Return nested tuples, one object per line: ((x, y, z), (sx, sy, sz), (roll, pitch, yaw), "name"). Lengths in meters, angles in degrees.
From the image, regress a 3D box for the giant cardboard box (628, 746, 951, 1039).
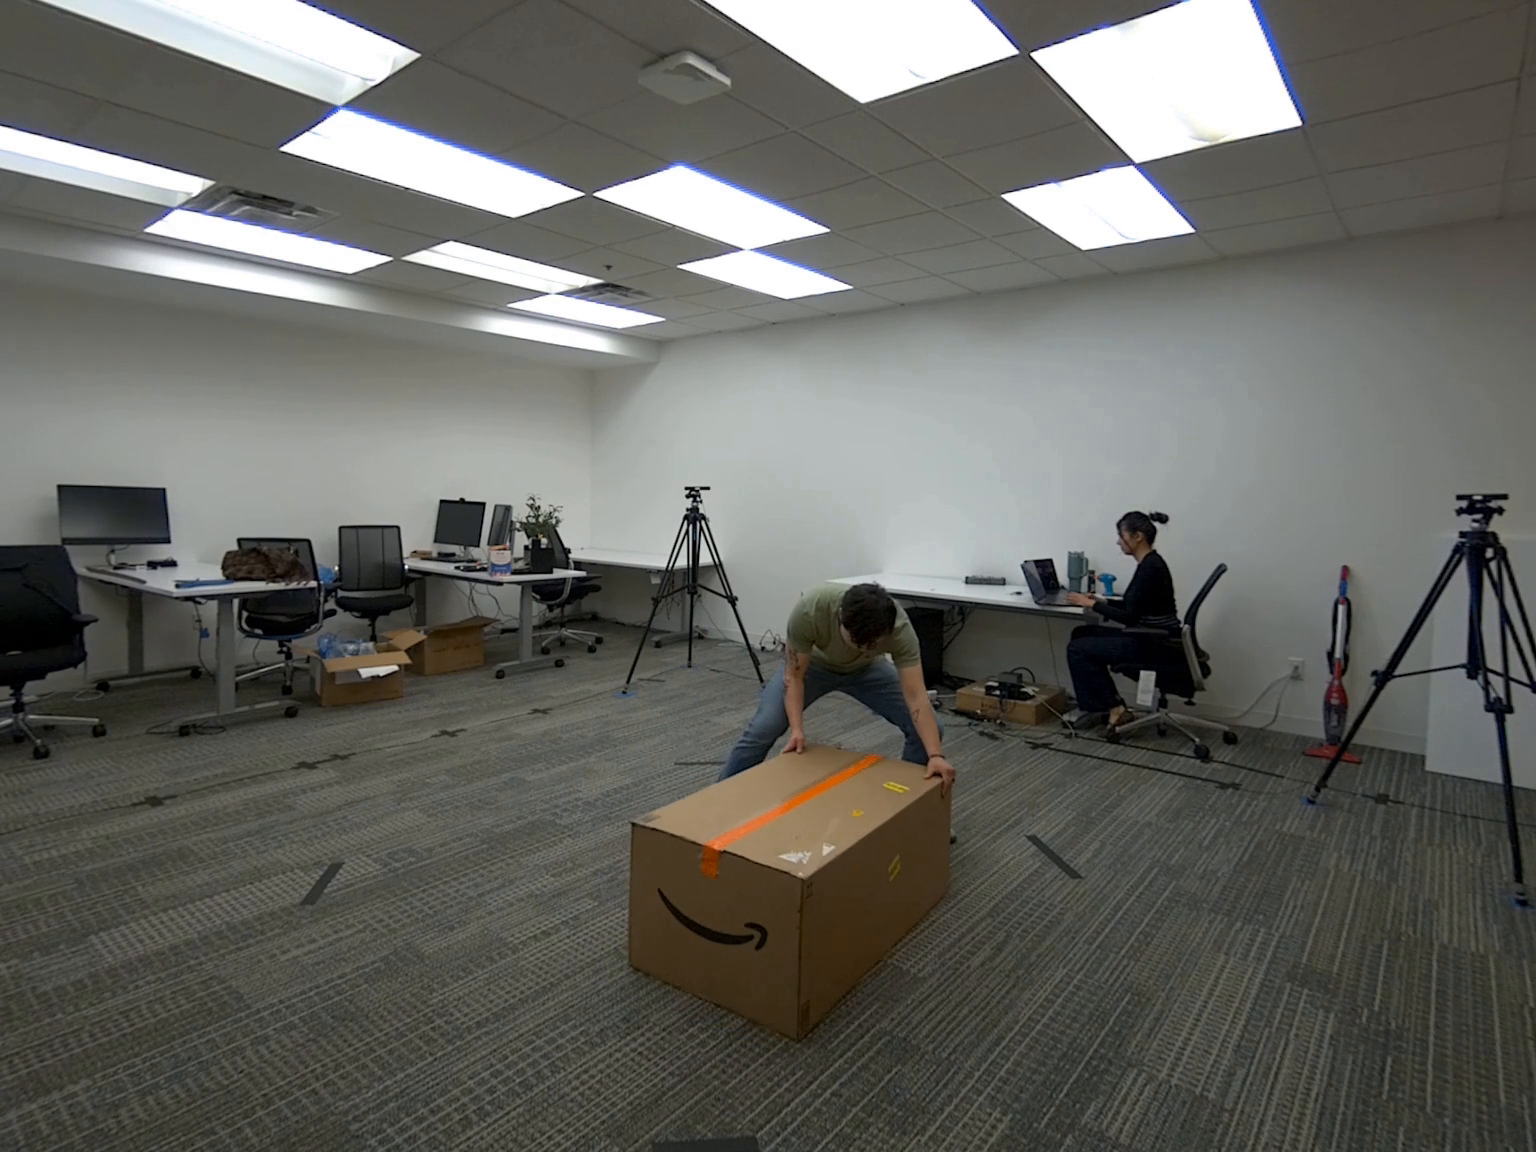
((0.112, 0.900, 2.693), (0.596, 0.424, 0.998), (5, 6, 33), "giant cardboard box")
